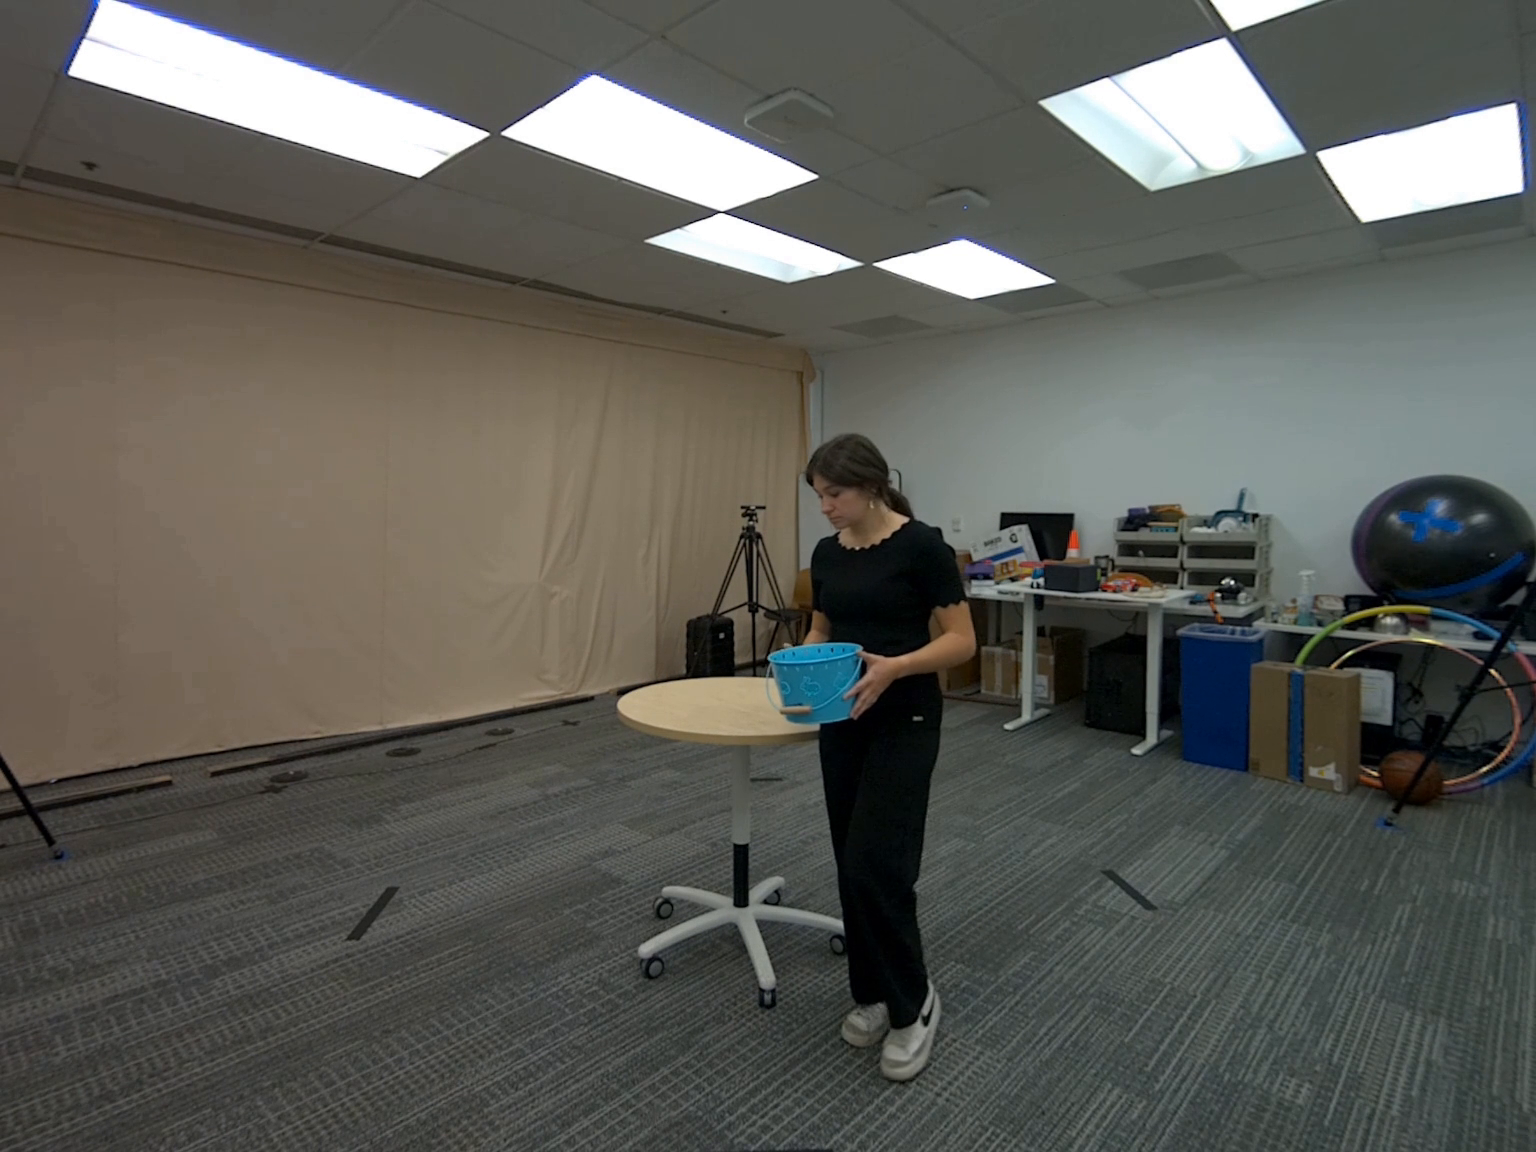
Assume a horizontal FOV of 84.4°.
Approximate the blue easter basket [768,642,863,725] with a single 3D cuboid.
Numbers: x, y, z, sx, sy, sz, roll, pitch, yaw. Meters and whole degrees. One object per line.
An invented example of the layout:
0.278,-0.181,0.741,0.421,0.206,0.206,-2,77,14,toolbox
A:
0.125,0.262,2.043,0.243,0.155,0.244,-5,3,-2,blue easter basket
